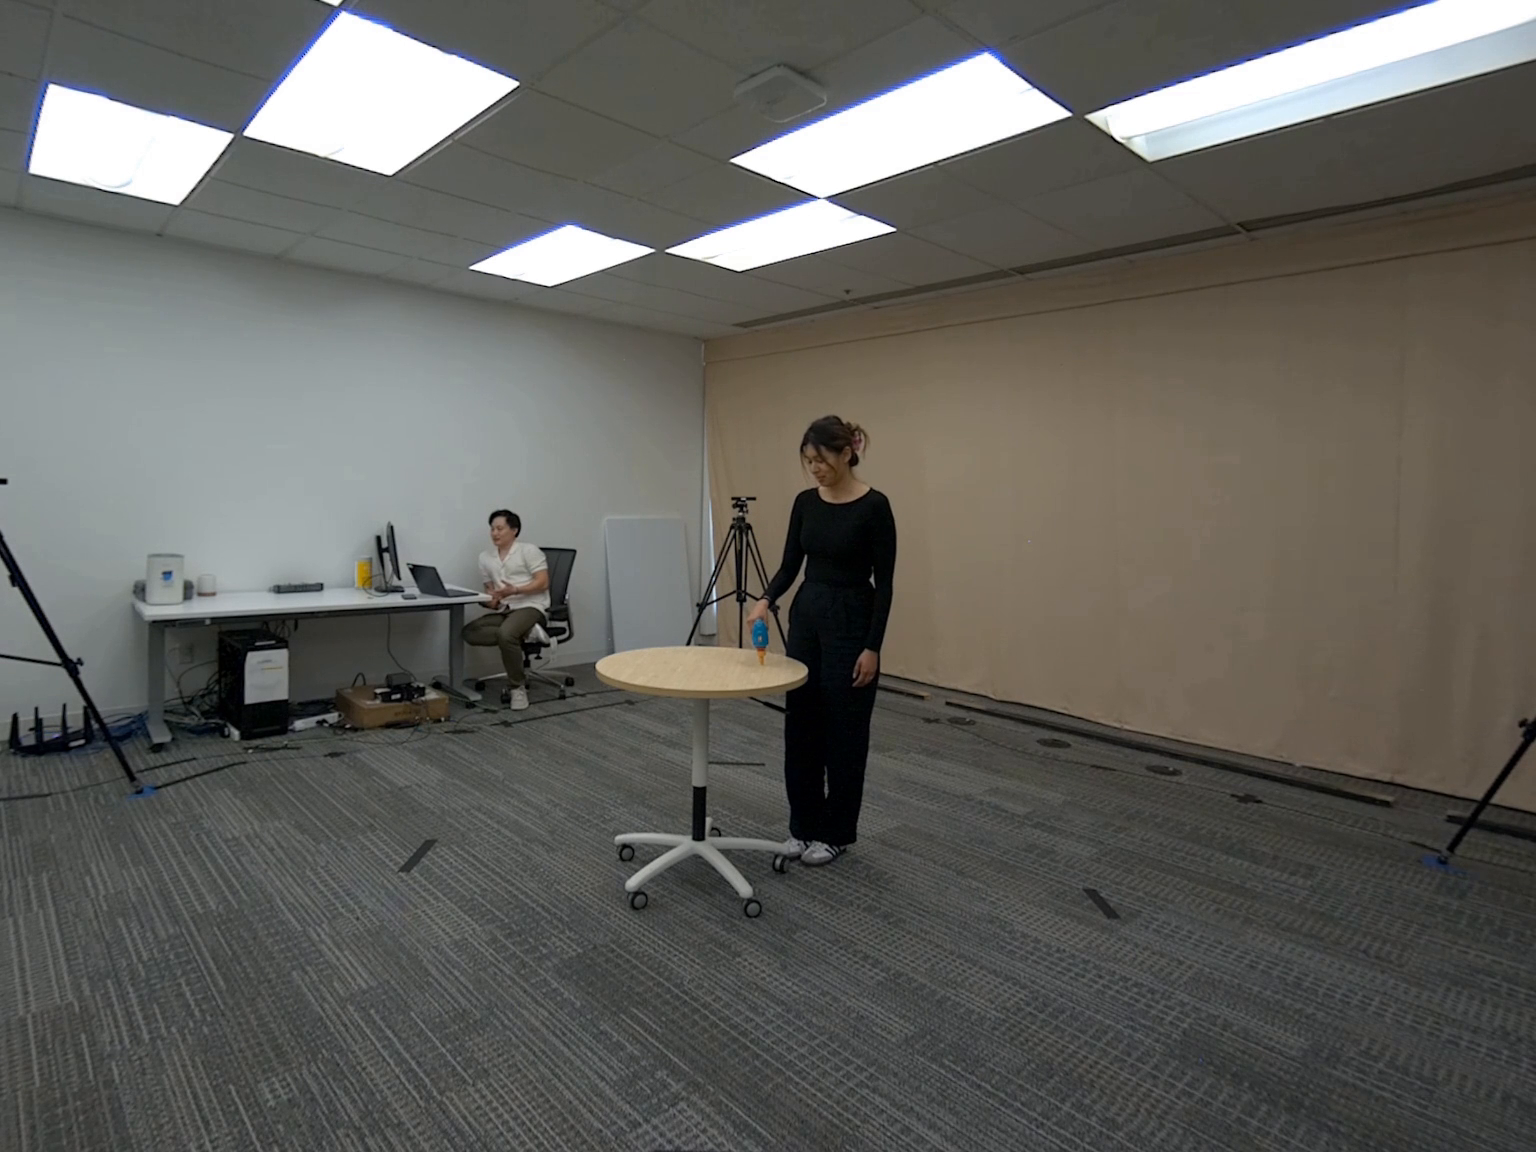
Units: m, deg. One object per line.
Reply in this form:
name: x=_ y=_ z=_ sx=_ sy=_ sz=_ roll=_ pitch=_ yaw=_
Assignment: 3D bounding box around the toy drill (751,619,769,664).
toy drill: x=-0.030 y=0.242 z=3.121 sx=0.061 sy=0.169 sz=0.146 roll=-6 pitch=4 yaw=3
